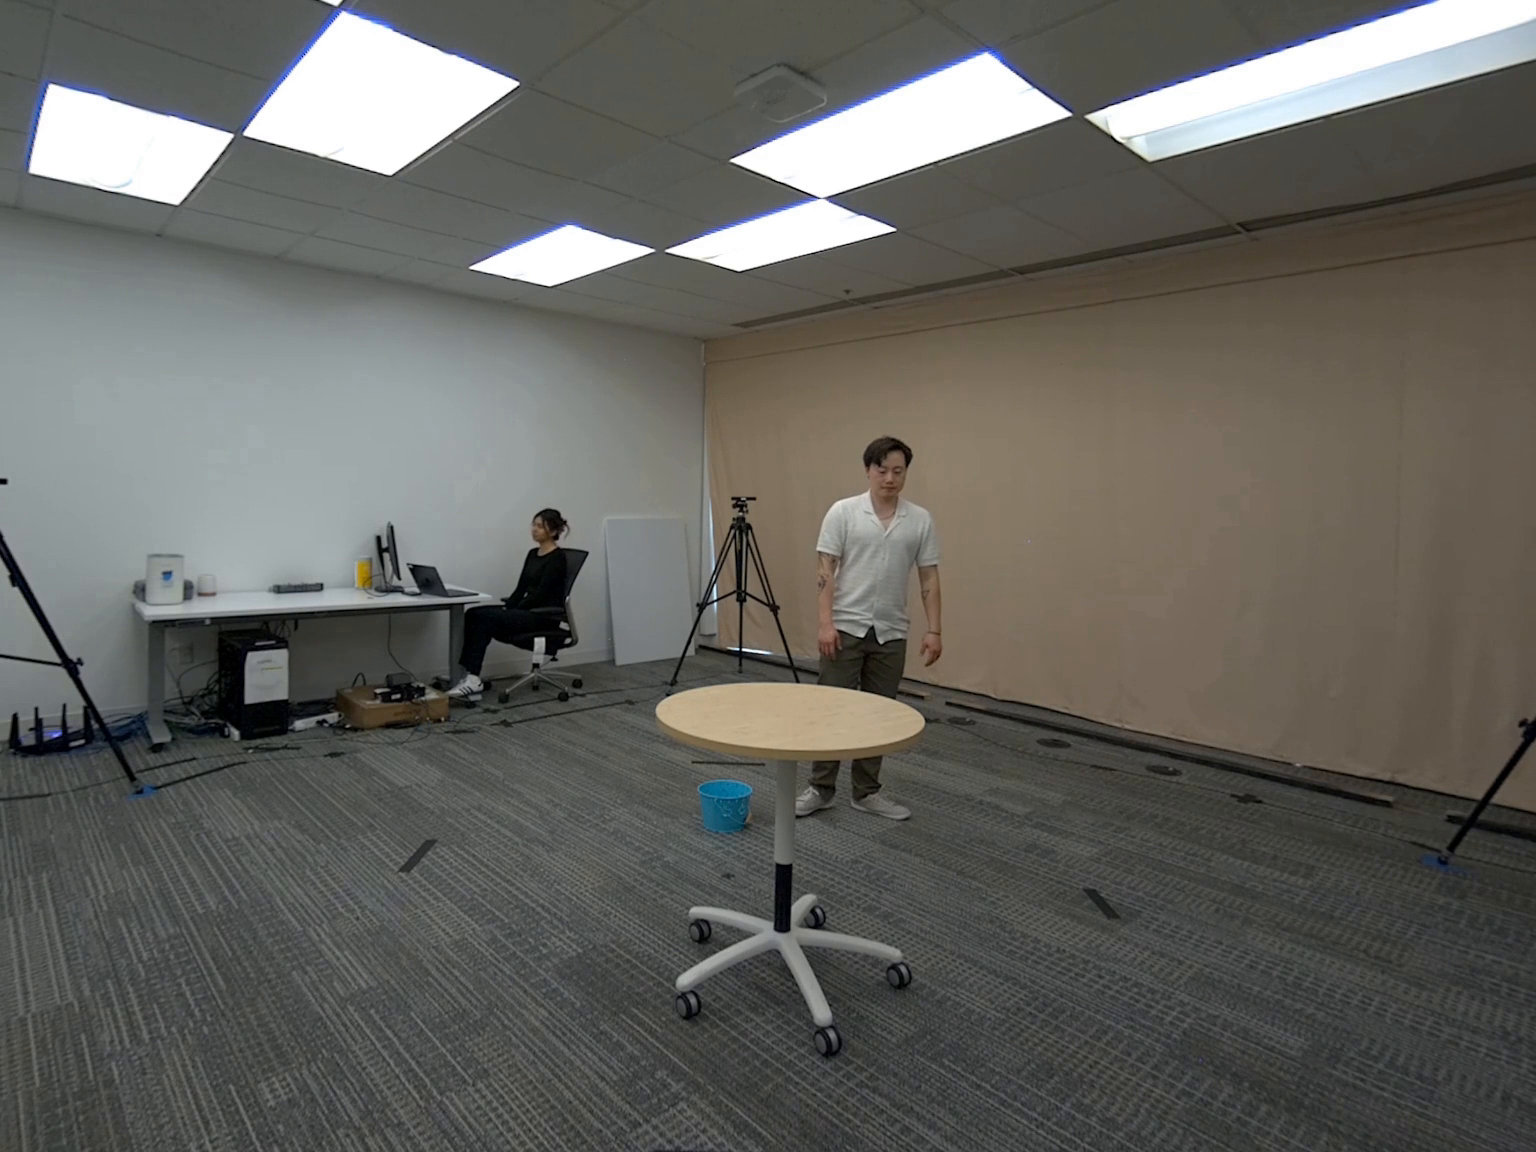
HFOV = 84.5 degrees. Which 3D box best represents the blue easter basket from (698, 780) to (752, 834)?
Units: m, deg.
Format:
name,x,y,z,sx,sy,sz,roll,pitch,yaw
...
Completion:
name,x,y,z,sx,sy,sz,roll,pitch,yaw
blue easter basket,-0.196,0.986,3.596,0.243,0.155,0.244,1,5,-1
